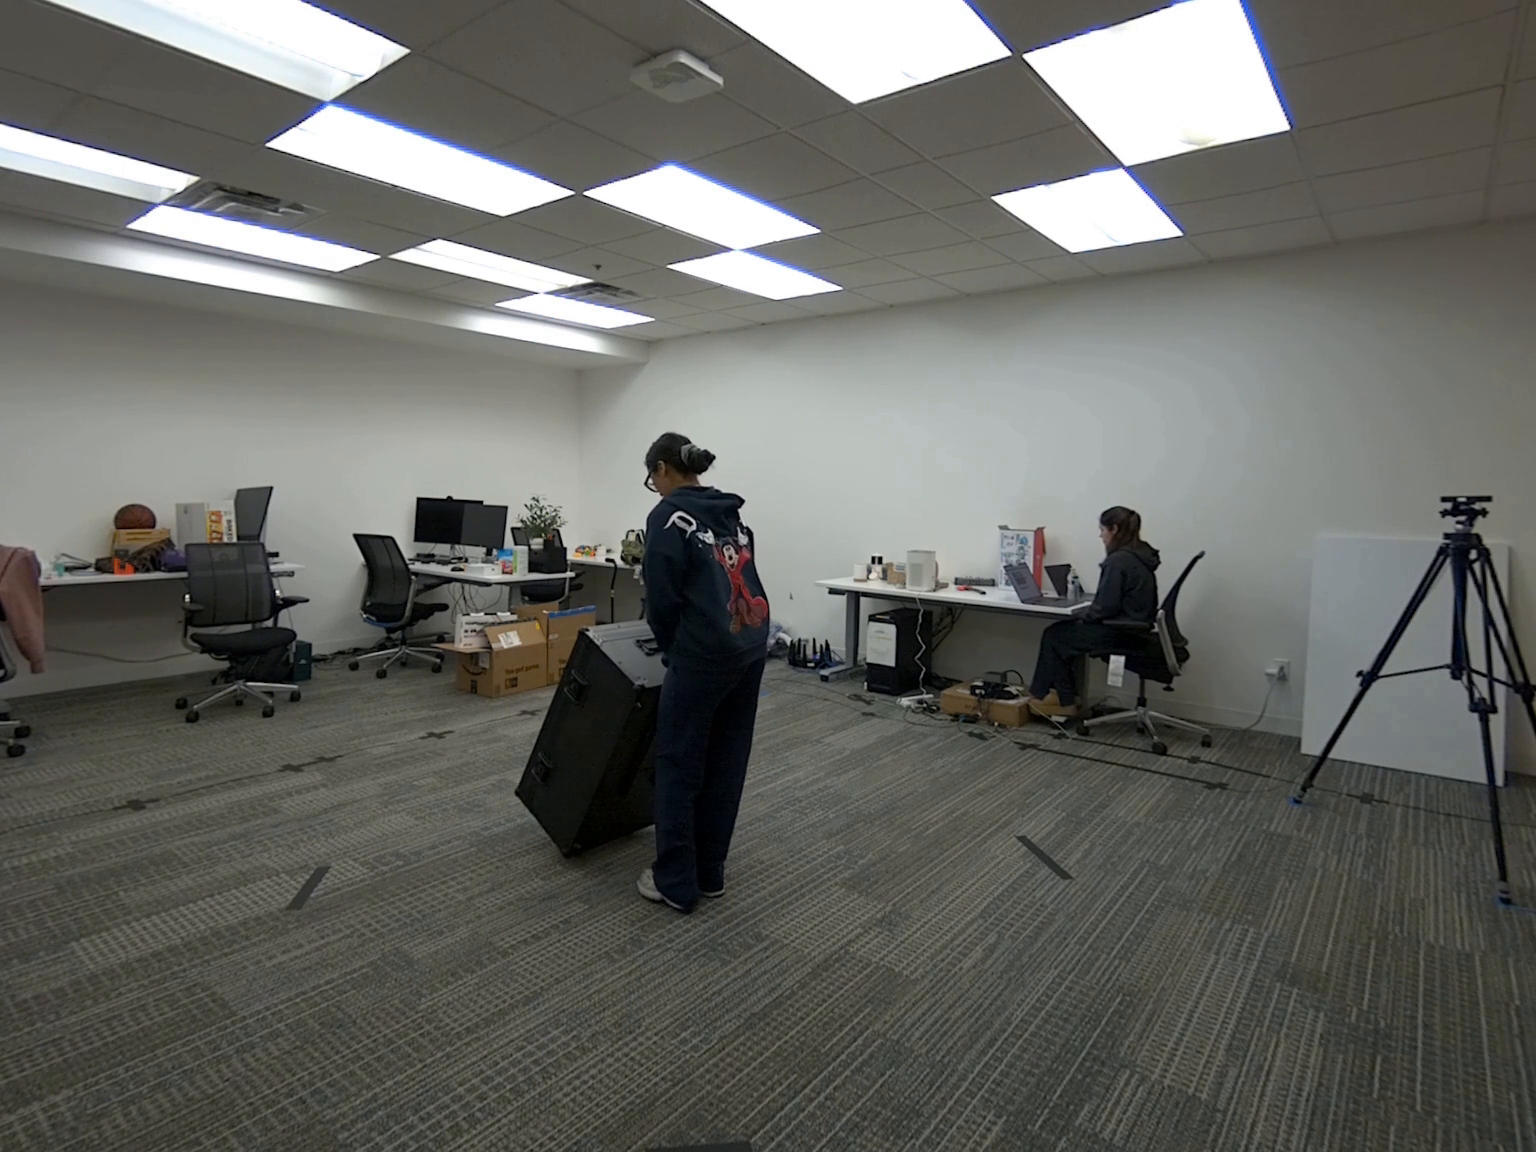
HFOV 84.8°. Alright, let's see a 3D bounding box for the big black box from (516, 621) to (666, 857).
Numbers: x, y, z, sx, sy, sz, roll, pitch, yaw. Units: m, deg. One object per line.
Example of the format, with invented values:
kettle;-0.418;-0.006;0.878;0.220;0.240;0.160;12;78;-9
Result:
big black box;-0.590;0.627;3.234;0.542;0.854;0.384;38;24;32
